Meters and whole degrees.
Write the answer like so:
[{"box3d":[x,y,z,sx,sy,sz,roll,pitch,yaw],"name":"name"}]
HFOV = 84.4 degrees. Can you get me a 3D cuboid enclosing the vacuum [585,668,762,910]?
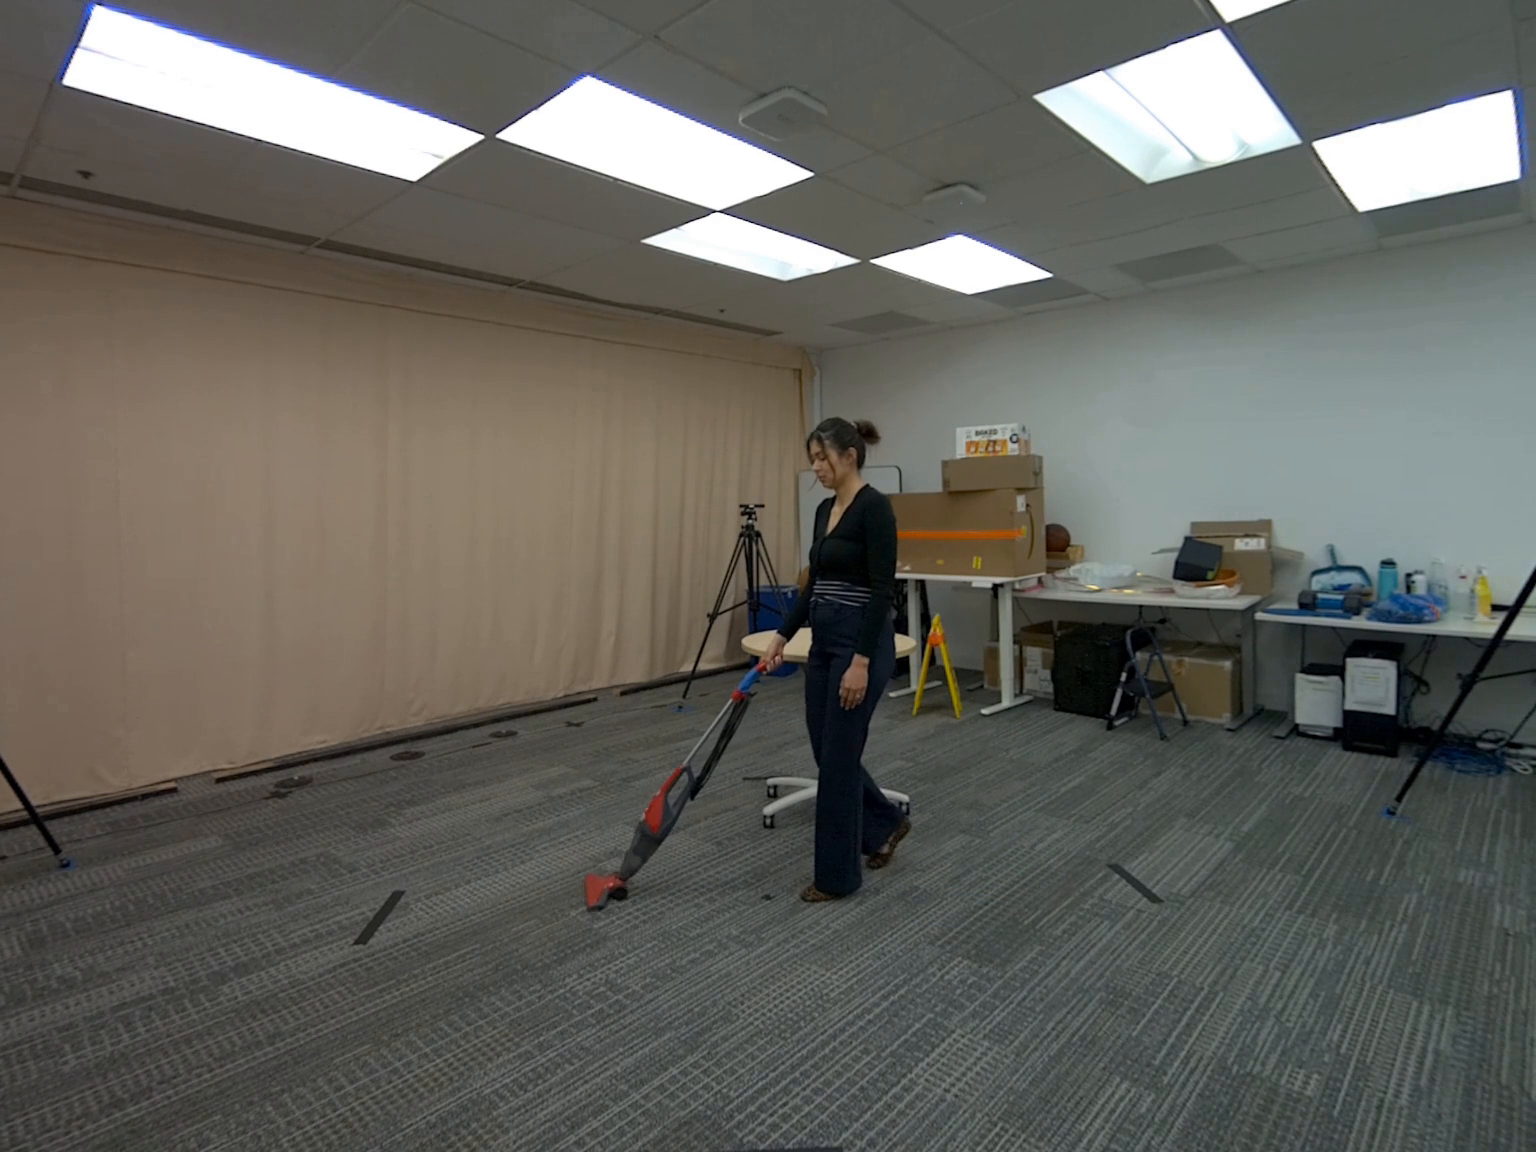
[{"box3d":[-0.282,0.718,3.091,0.141,1.048,0.257,37,-5,-17],"name":"vacuum"}]
